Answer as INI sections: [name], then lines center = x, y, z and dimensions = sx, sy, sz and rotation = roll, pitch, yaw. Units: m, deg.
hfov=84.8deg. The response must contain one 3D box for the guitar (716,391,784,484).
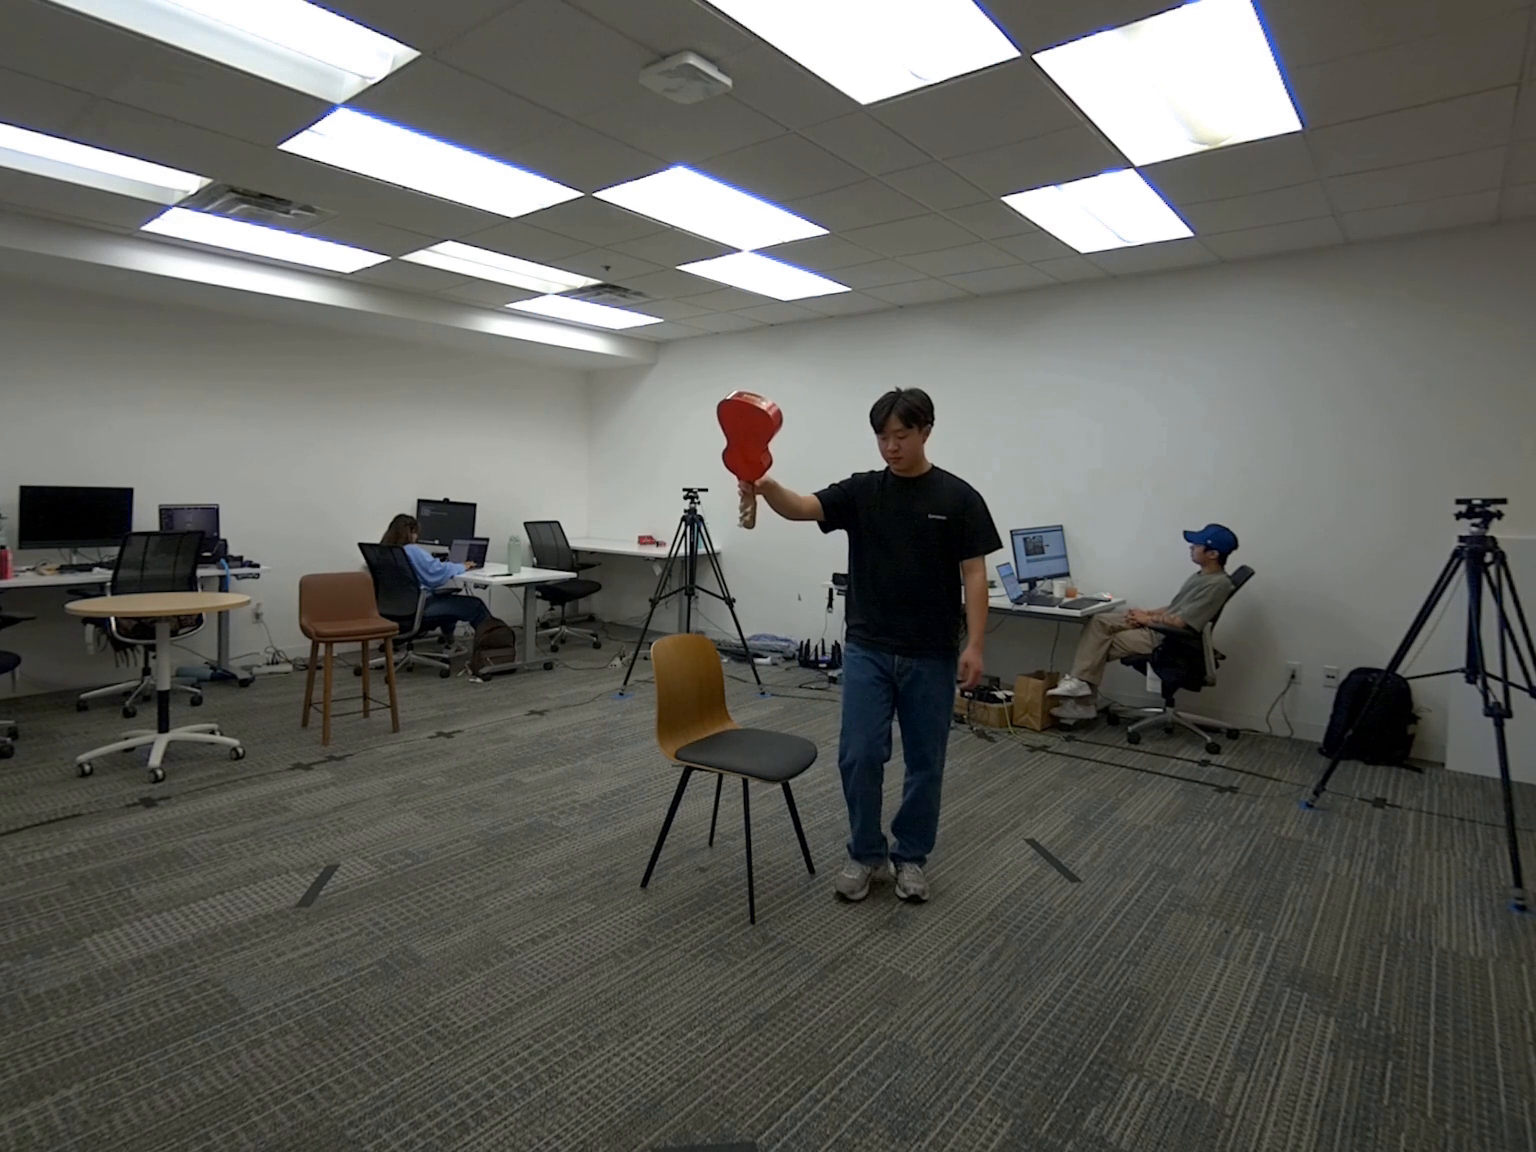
[guitar]
center = -0.052, -0.329, 2.615
dimensions = 0.199, 0.483, 0.070
rotation = 15, 39, 27
